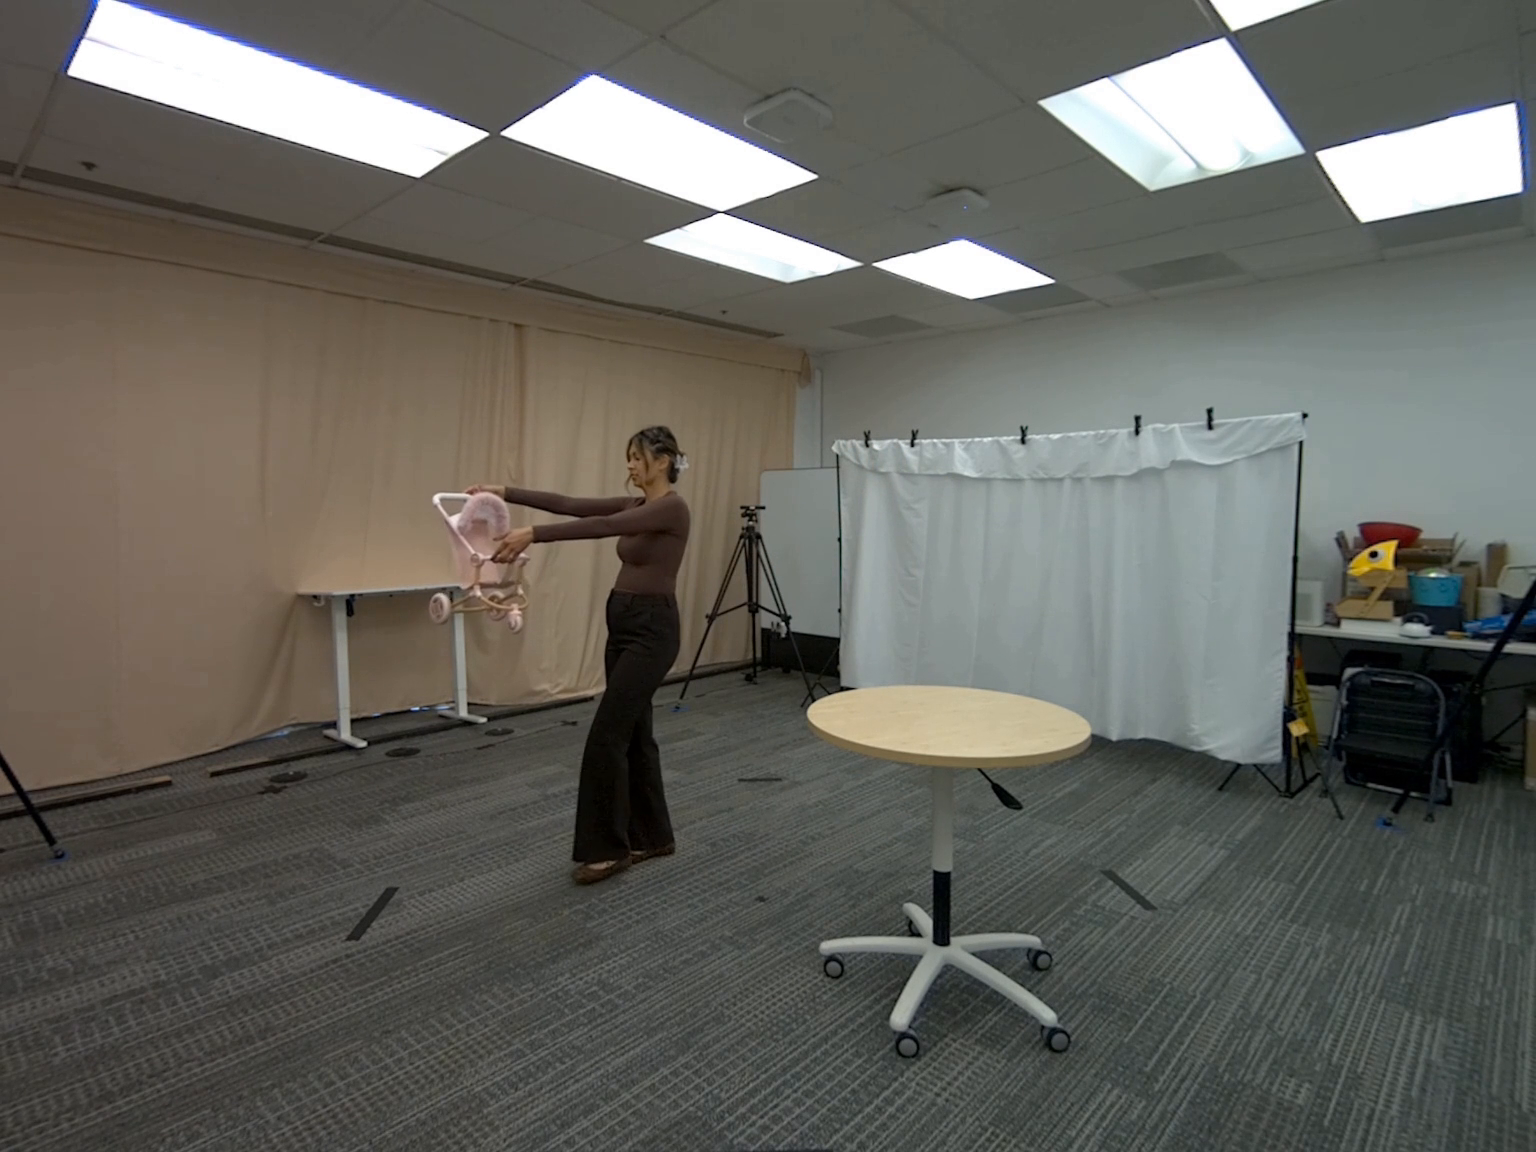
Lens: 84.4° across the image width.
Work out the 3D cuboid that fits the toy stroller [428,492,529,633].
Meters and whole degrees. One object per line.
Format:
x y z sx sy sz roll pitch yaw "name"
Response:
-0.994 -0.050 2.966 0.351 0.537 0.272 -10 -7 39 "toy stroller"
